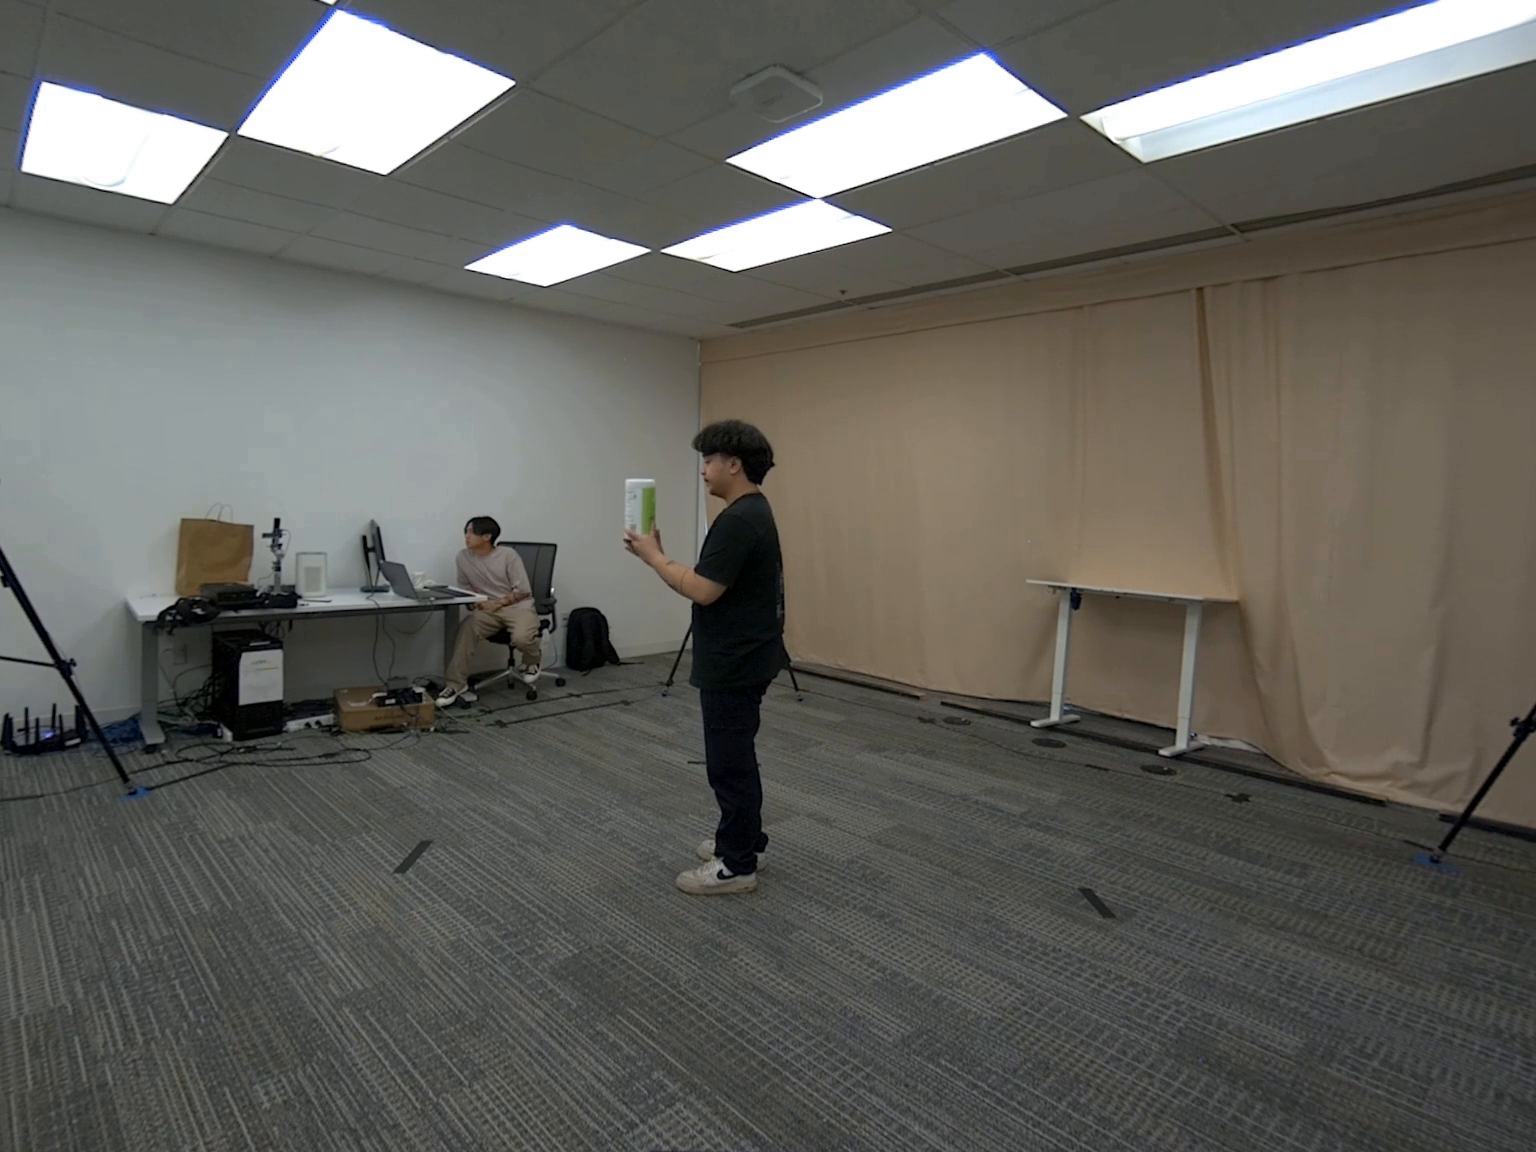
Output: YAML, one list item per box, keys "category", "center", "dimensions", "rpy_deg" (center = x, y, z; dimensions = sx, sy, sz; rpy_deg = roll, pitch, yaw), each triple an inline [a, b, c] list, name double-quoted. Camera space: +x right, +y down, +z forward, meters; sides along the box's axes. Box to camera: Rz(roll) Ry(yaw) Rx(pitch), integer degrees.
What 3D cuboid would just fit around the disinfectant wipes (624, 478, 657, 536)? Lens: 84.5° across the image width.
- category: "disinfectant wipes"
  center: [-0.458, -0.236, 3.008]
  dimensions: [0.118, 0.216, 0.118]
  rpy_deg: [0, 6, -1]
